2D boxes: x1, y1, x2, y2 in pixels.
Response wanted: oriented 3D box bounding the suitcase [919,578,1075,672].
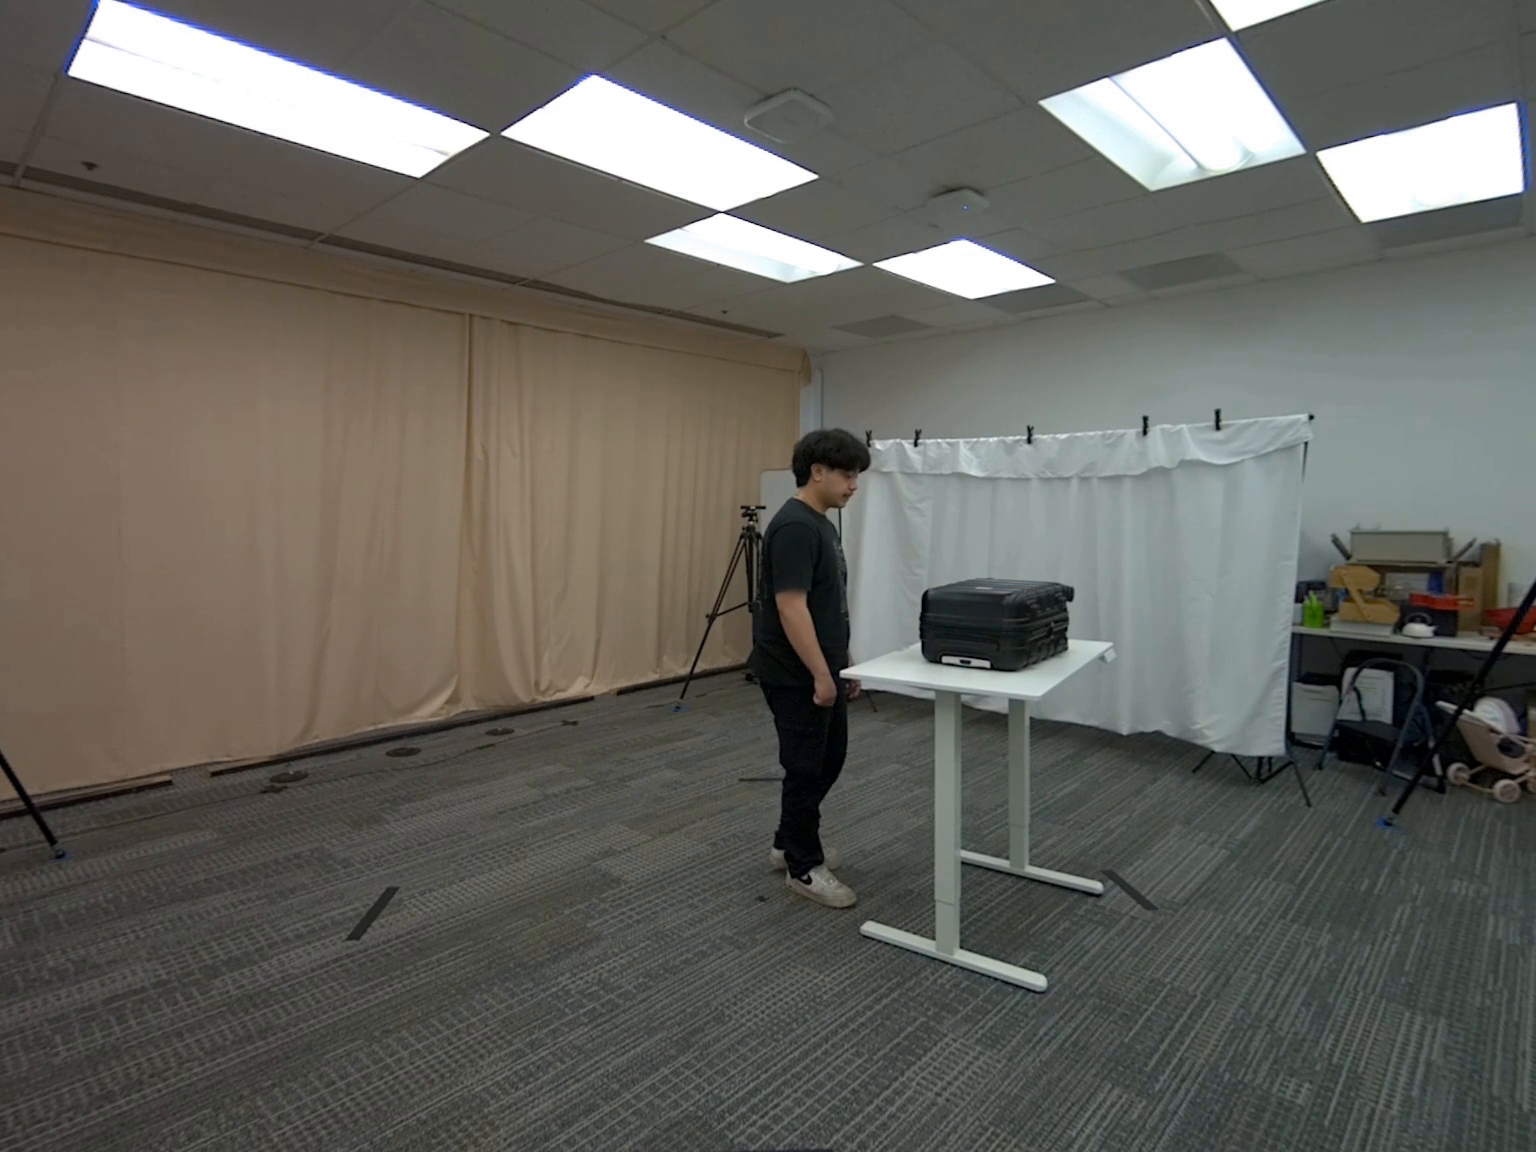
[{"bbox_3d":[0.778,0.158,2.817,0.388,0.248,0.533,4,6,39],"label":"suitcase"}]
